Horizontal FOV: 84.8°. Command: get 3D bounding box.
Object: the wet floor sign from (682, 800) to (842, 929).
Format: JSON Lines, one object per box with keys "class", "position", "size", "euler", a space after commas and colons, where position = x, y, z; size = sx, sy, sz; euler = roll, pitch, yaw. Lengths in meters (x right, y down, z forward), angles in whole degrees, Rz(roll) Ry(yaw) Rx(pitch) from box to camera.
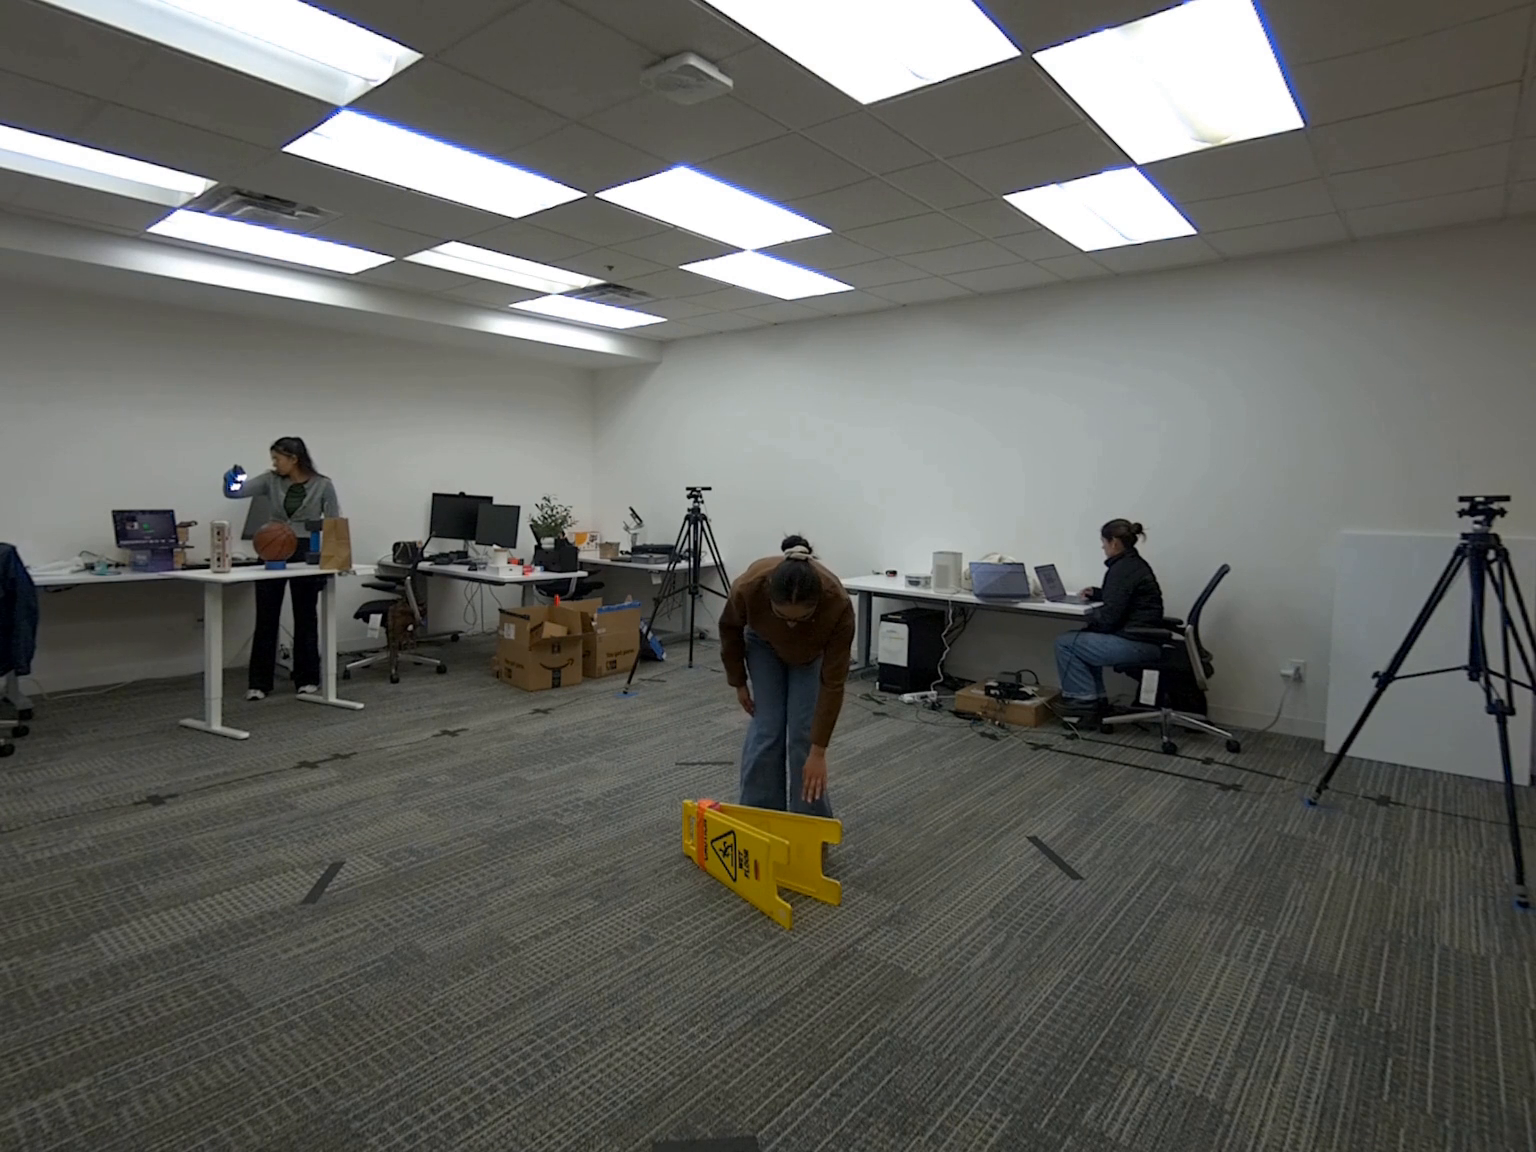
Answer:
{"class": "wet floor sign", "position": [-0.091, 0.954, 2.988], "size": [0.667, 0.282, 0.281], "euler": [2, 4, 44]}
